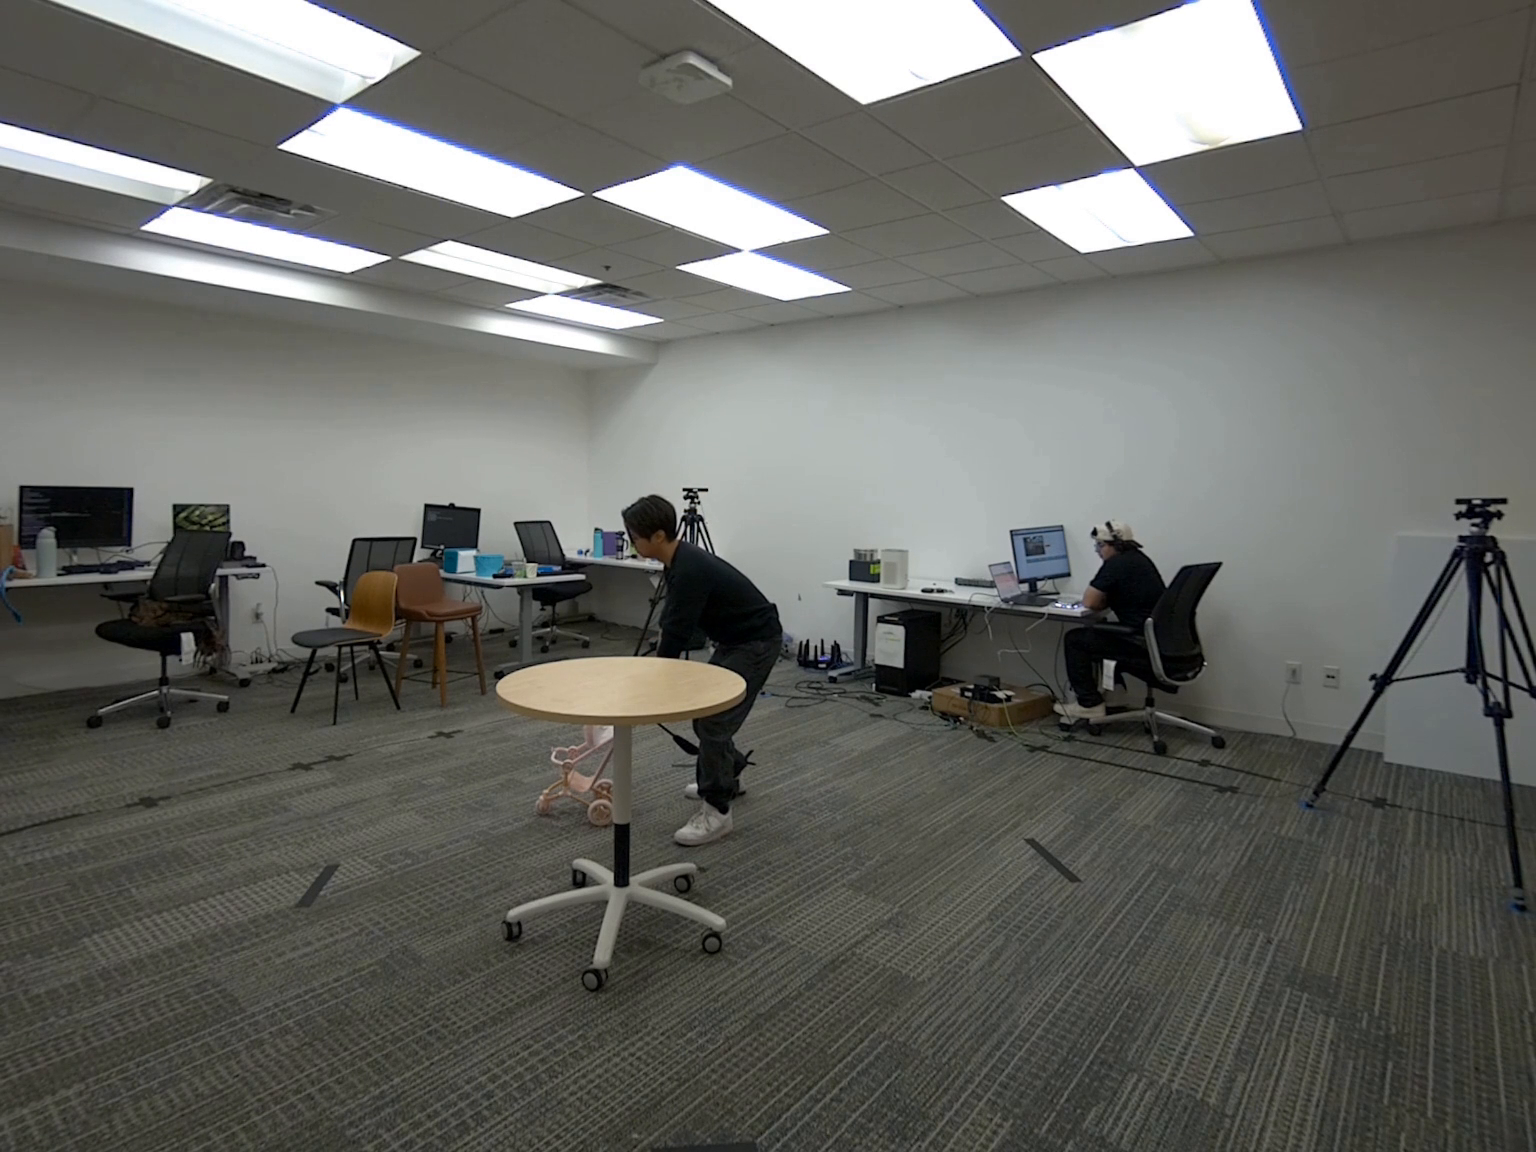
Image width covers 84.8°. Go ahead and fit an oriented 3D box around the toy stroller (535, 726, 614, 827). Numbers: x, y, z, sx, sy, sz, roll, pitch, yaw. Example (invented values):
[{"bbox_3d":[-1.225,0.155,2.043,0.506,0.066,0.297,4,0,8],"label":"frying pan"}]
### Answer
[{"bbox_3d":[-0.783,0.791,3.614,0.342,0.534,0.282,16,3,0],"label":"toy stroller"}]
